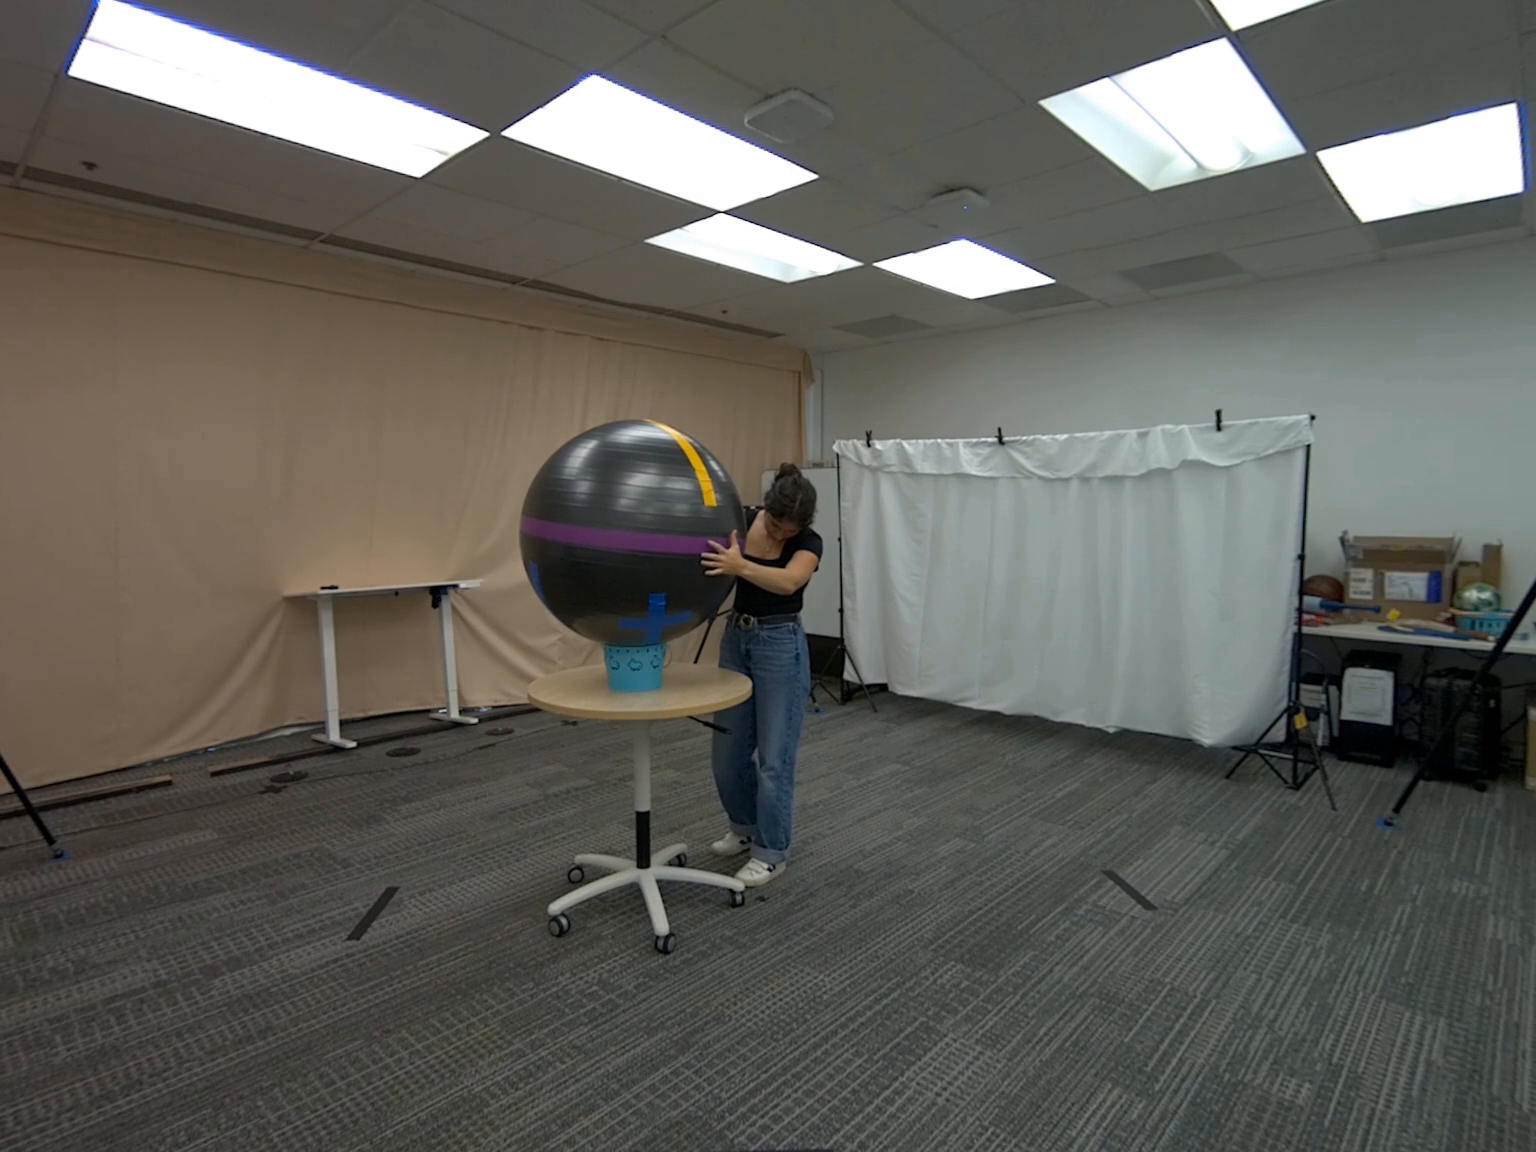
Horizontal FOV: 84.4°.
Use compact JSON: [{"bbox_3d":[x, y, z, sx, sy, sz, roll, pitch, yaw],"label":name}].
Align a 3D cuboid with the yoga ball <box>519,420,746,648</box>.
[{"bbox_3d":[-0.463,-0.139,2.836,0.757,0.756,0.760,0,4,-2],"label":"yoga ball"}]
